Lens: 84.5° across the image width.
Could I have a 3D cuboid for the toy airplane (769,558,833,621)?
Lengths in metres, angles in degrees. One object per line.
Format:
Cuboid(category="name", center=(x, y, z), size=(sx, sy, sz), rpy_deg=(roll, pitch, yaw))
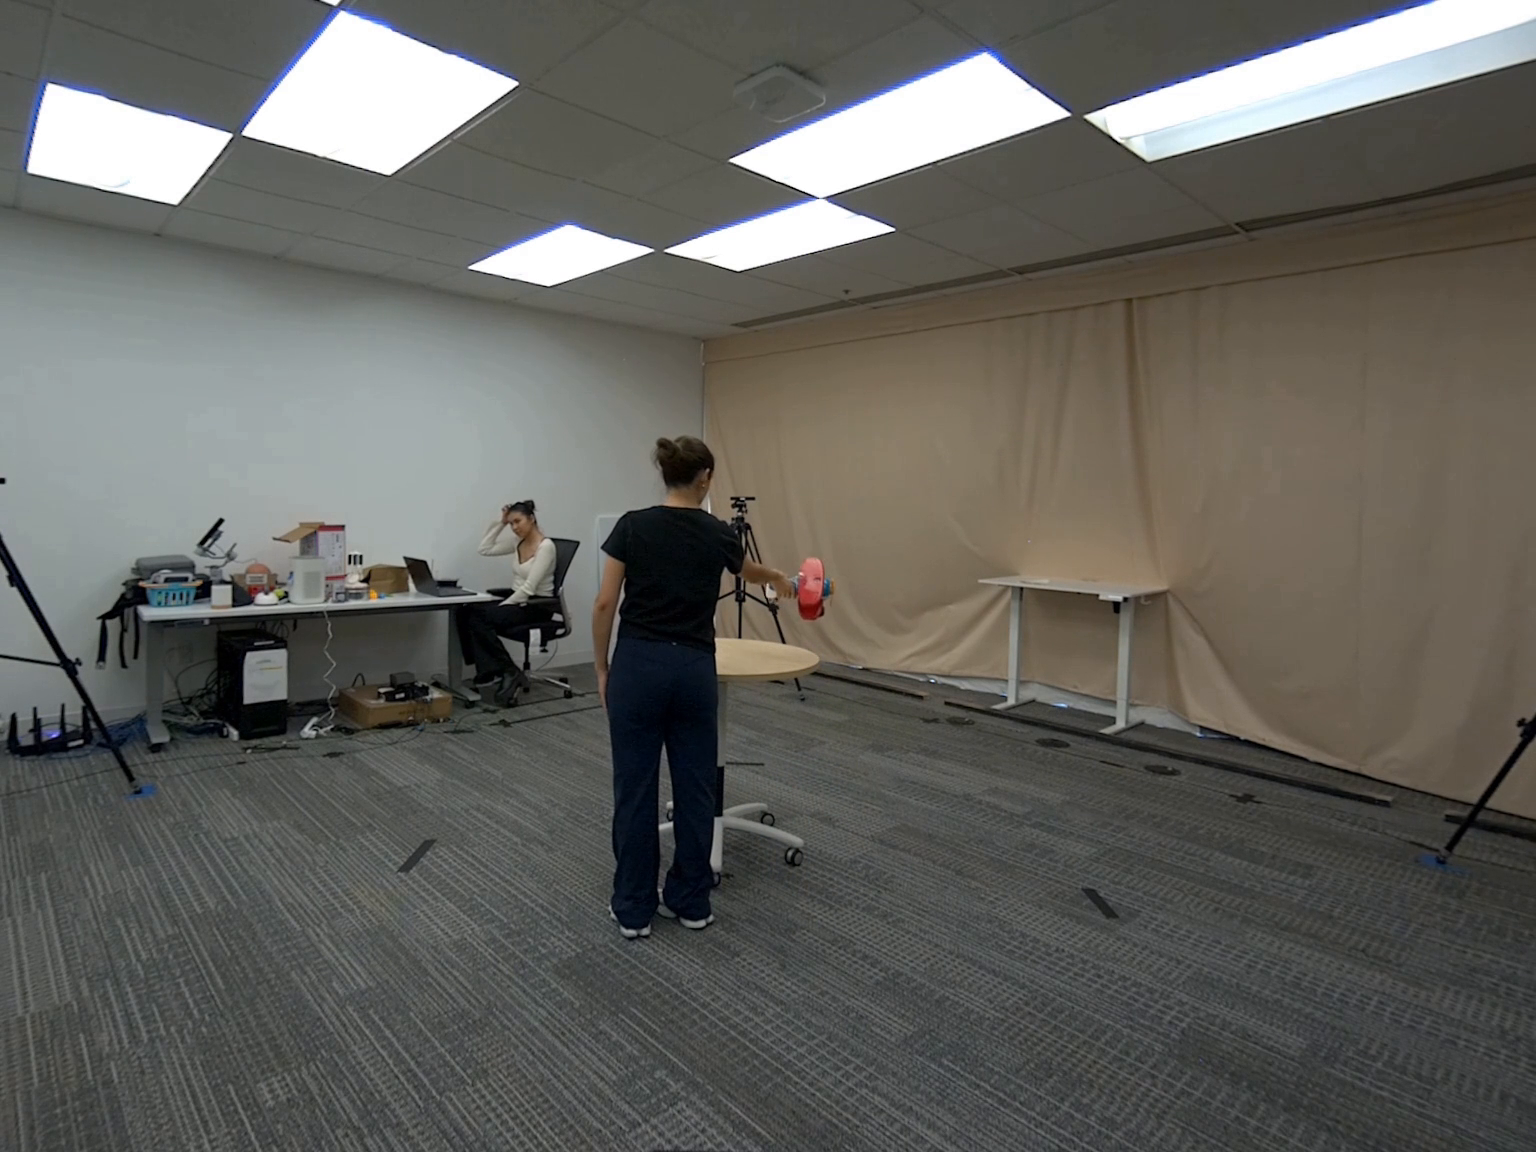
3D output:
Cuboid(category="toy airplane", center=(0.121, 0.070, 3.263), size=(0.255, 0.154, 0.259), rpy_deg=(-9, 48, -22))
